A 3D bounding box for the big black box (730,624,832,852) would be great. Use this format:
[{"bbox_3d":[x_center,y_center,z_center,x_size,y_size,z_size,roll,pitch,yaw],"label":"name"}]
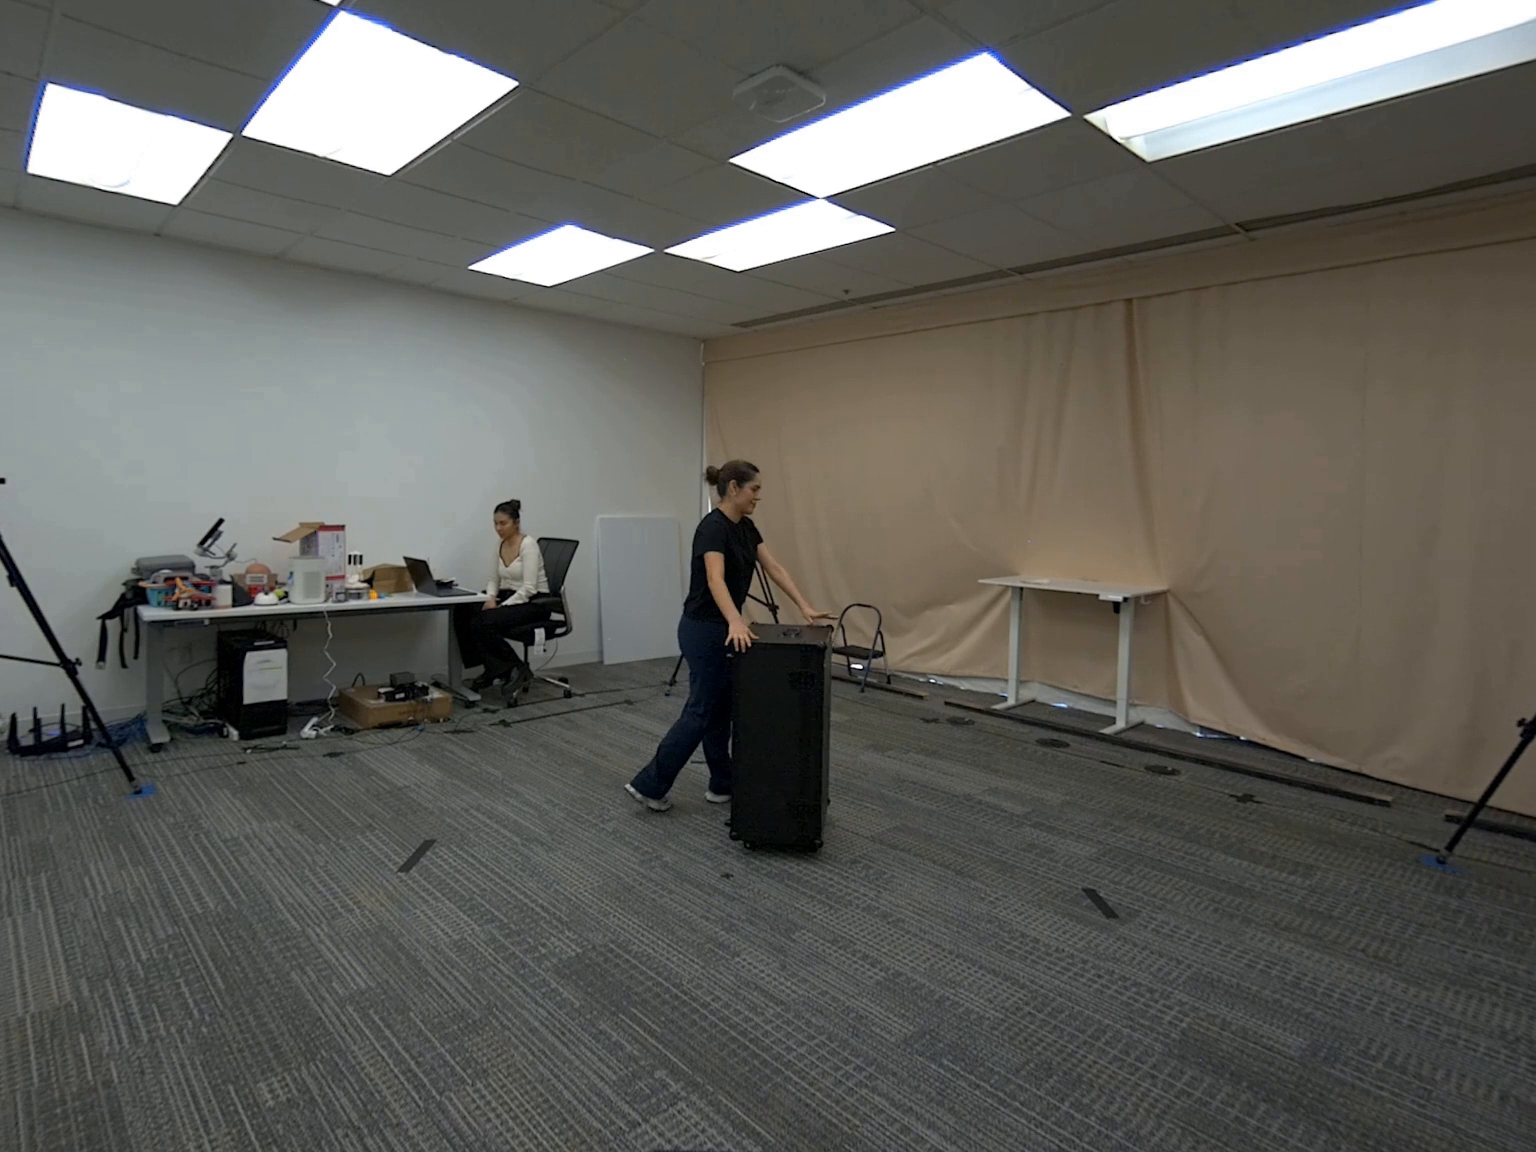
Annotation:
[{"bbox_3d":[0.051,0.656,3.436,0.399,0.859,0.519,1,4,8],"label":"big black box"}]
